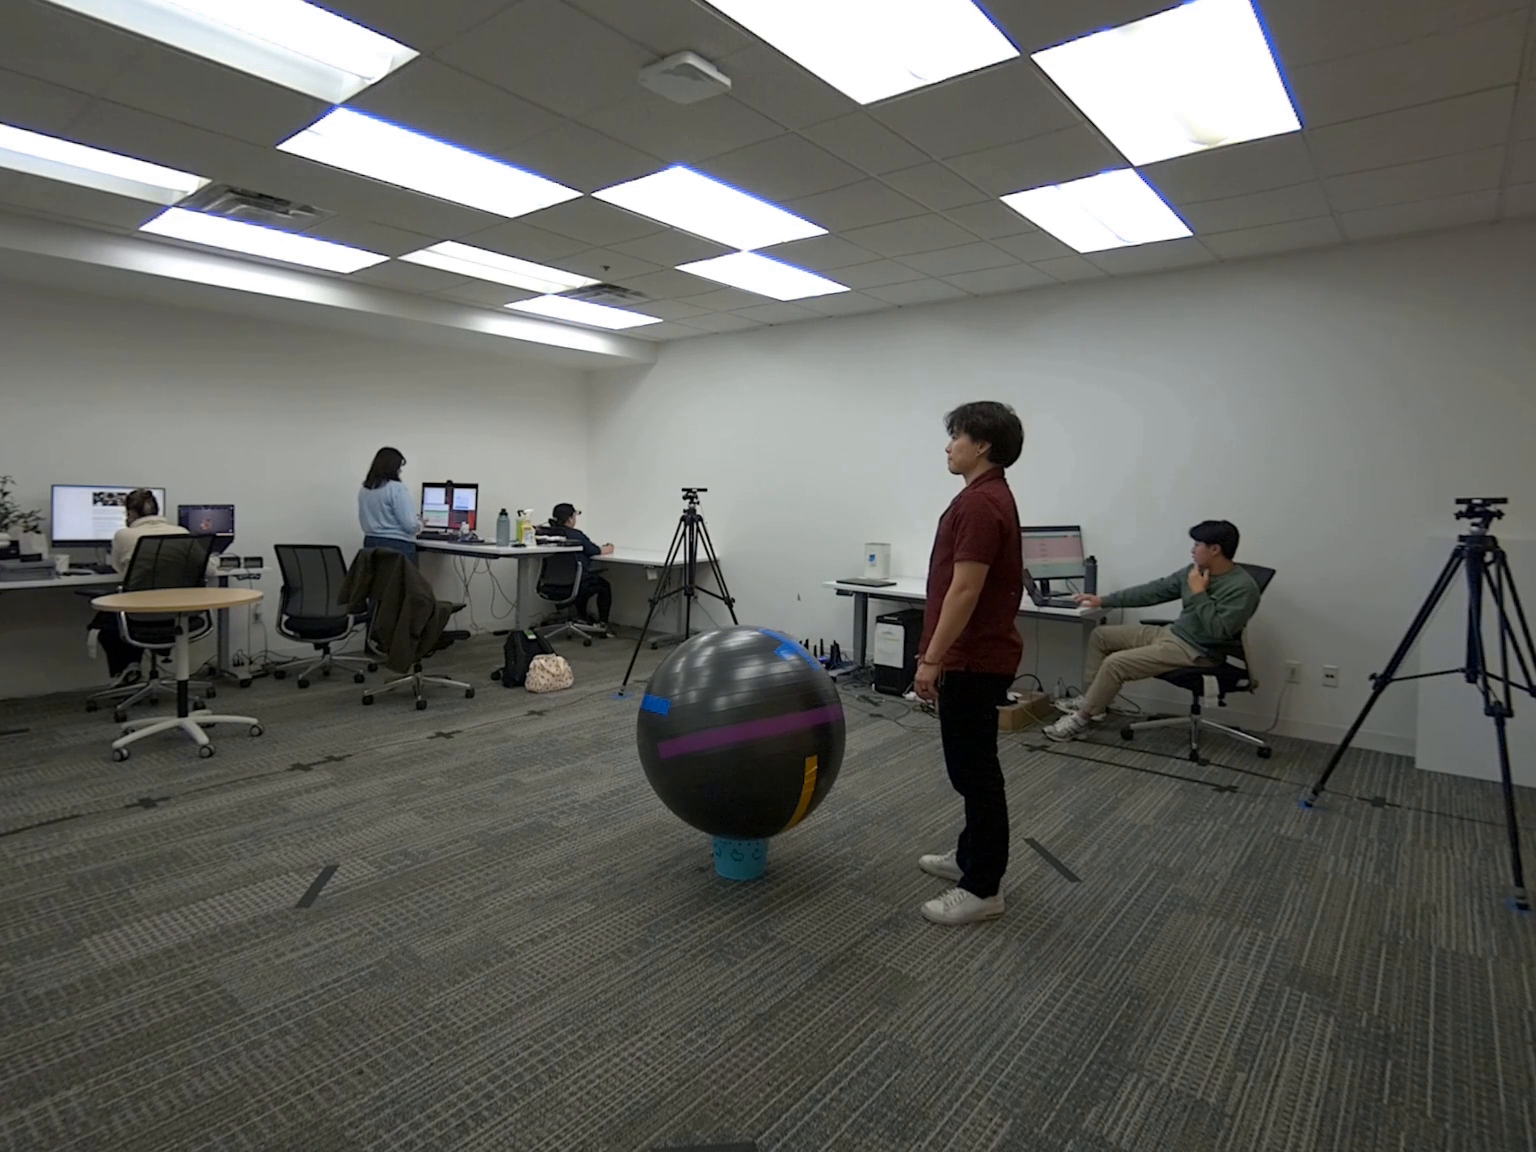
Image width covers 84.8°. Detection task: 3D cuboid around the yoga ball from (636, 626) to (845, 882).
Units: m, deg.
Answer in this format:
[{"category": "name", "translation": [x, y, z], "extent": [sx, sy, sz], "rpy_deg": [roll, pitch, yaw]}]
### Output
[{"category": "yoga ball", "translation": [-0.120, 0.565, 3.107], "extent": [0.757, 0.755, 0.762], "rpy_deg": [1, 4, -2]}]
